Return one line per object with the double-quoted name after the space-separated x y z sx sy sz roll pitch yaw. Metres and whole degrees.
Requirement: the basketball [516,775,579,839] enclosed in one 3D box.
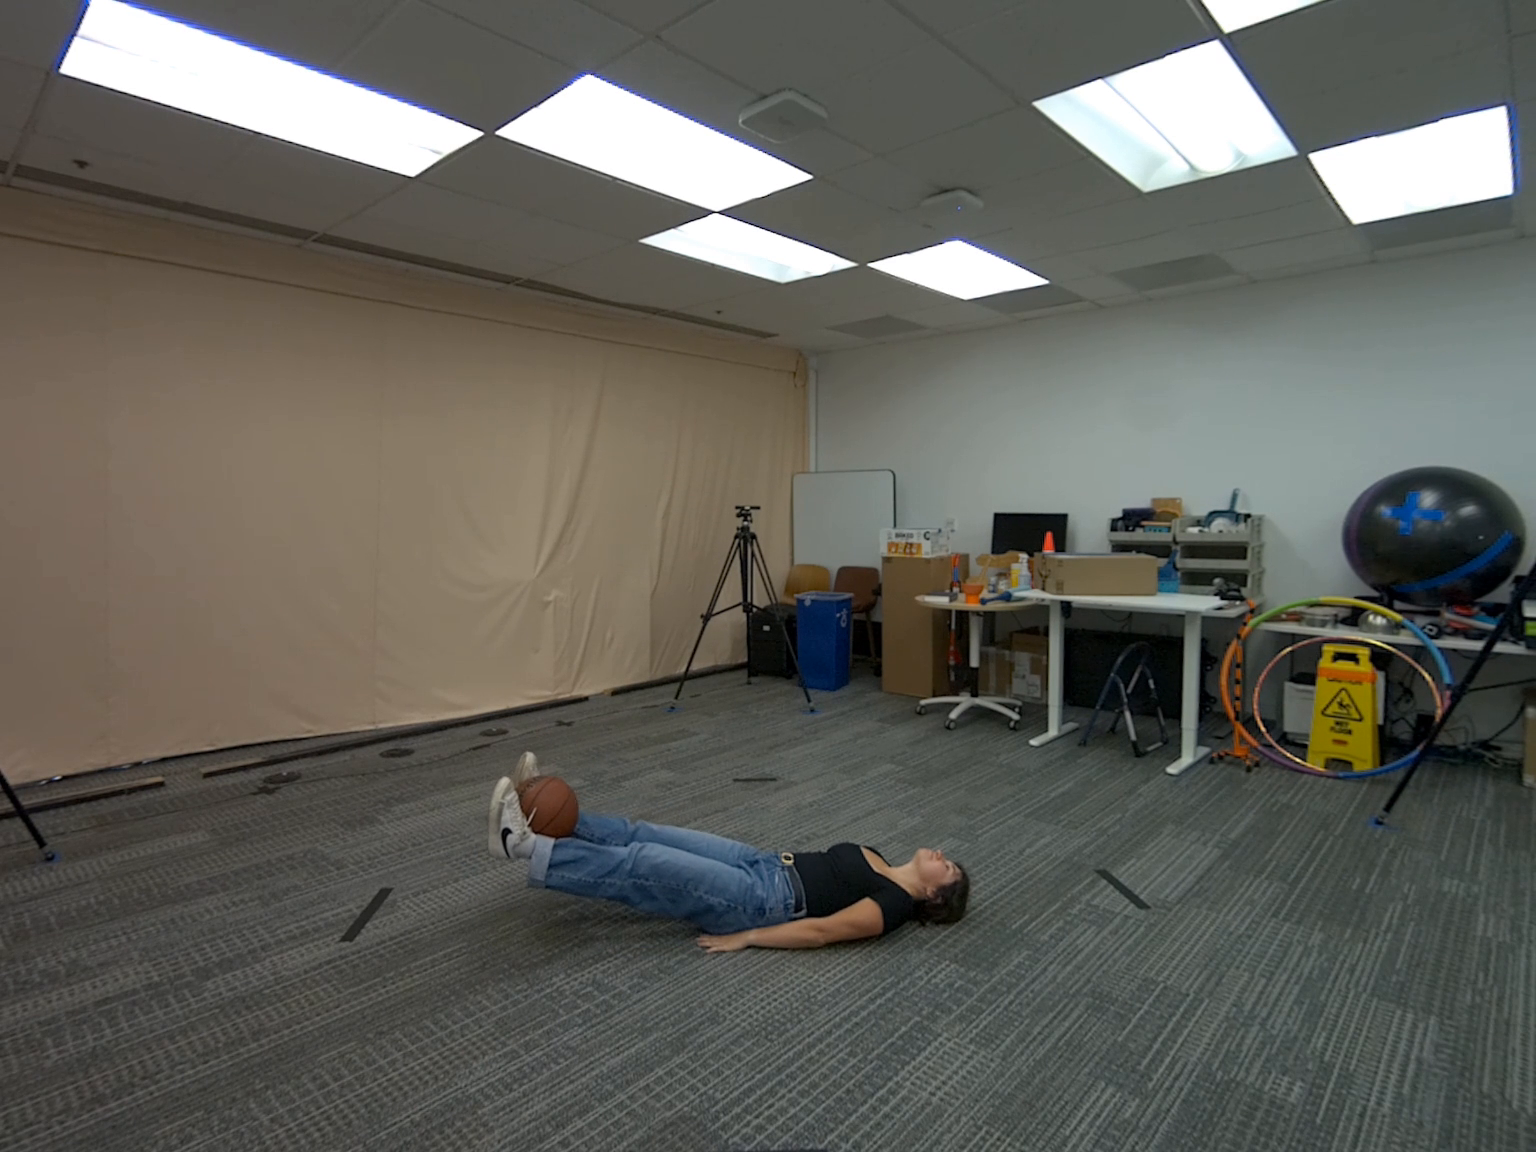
-0.743 0.780 2.784 0.236 0.235 0.237 0 4 -2 "basketball"
